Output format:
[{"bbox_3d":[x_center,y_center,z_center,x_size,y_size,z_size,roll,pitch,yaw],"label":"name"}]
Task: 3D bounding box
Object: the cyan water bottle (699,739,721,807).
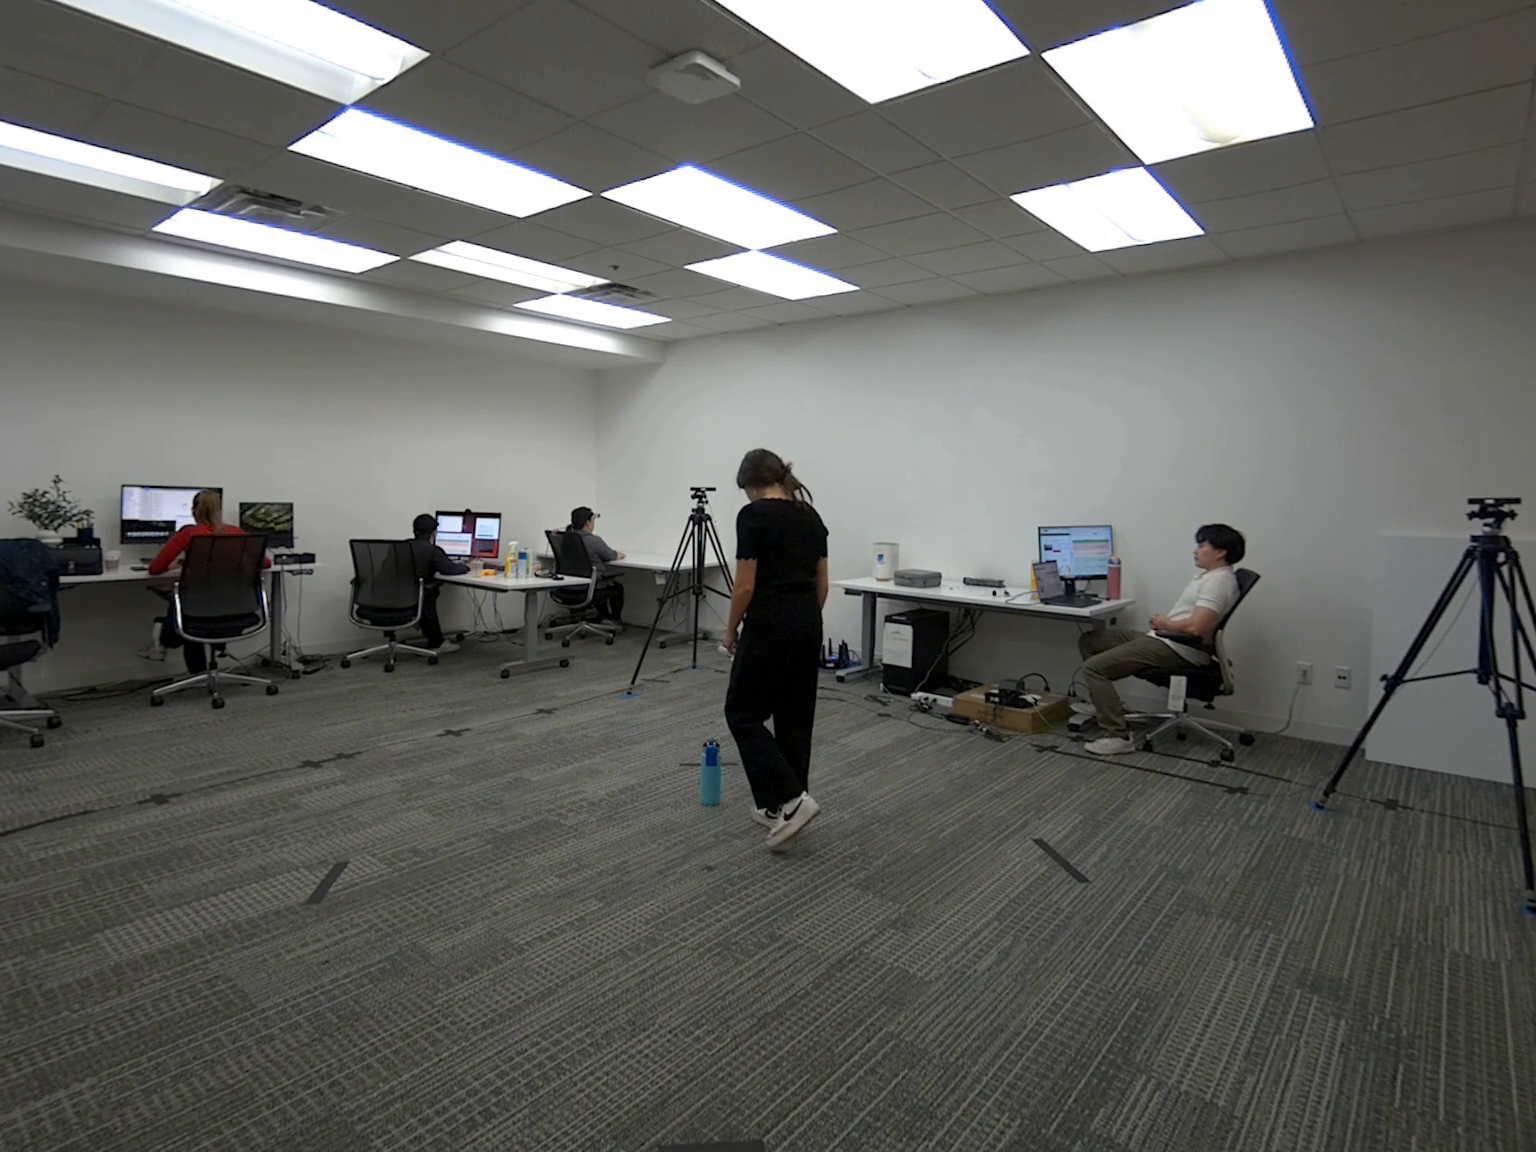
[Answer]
[{"bbox_3d":[-0.261,0.860,3.764,0.092,0.282,0.093,2,3,-2],"label":"cyan water bottle"}]
